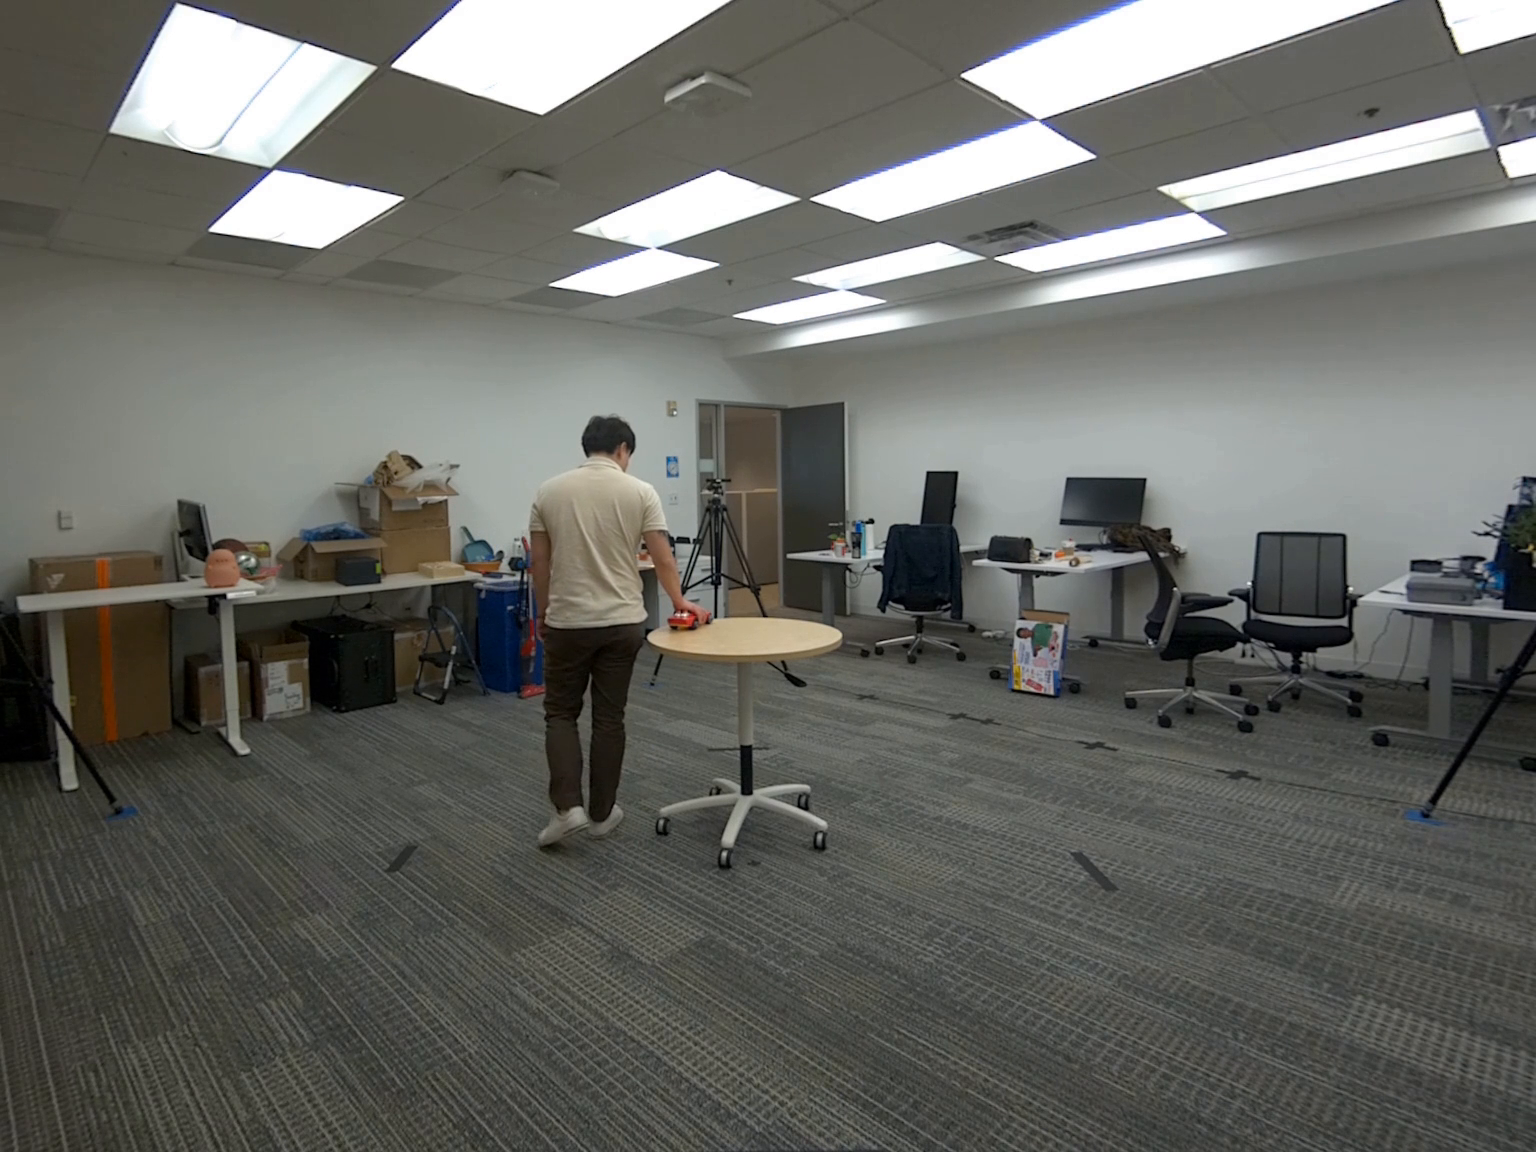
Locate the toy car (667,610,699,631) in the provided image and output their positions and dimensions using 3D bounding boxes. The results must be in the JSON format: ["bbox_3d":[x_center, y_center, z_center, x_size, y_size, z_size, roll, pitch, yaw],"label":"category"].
[{"bbox_3d":[-0.327,0.179,3.551,0.133,0.083,0.248,1,-4,21],"label":"toy car"}]
